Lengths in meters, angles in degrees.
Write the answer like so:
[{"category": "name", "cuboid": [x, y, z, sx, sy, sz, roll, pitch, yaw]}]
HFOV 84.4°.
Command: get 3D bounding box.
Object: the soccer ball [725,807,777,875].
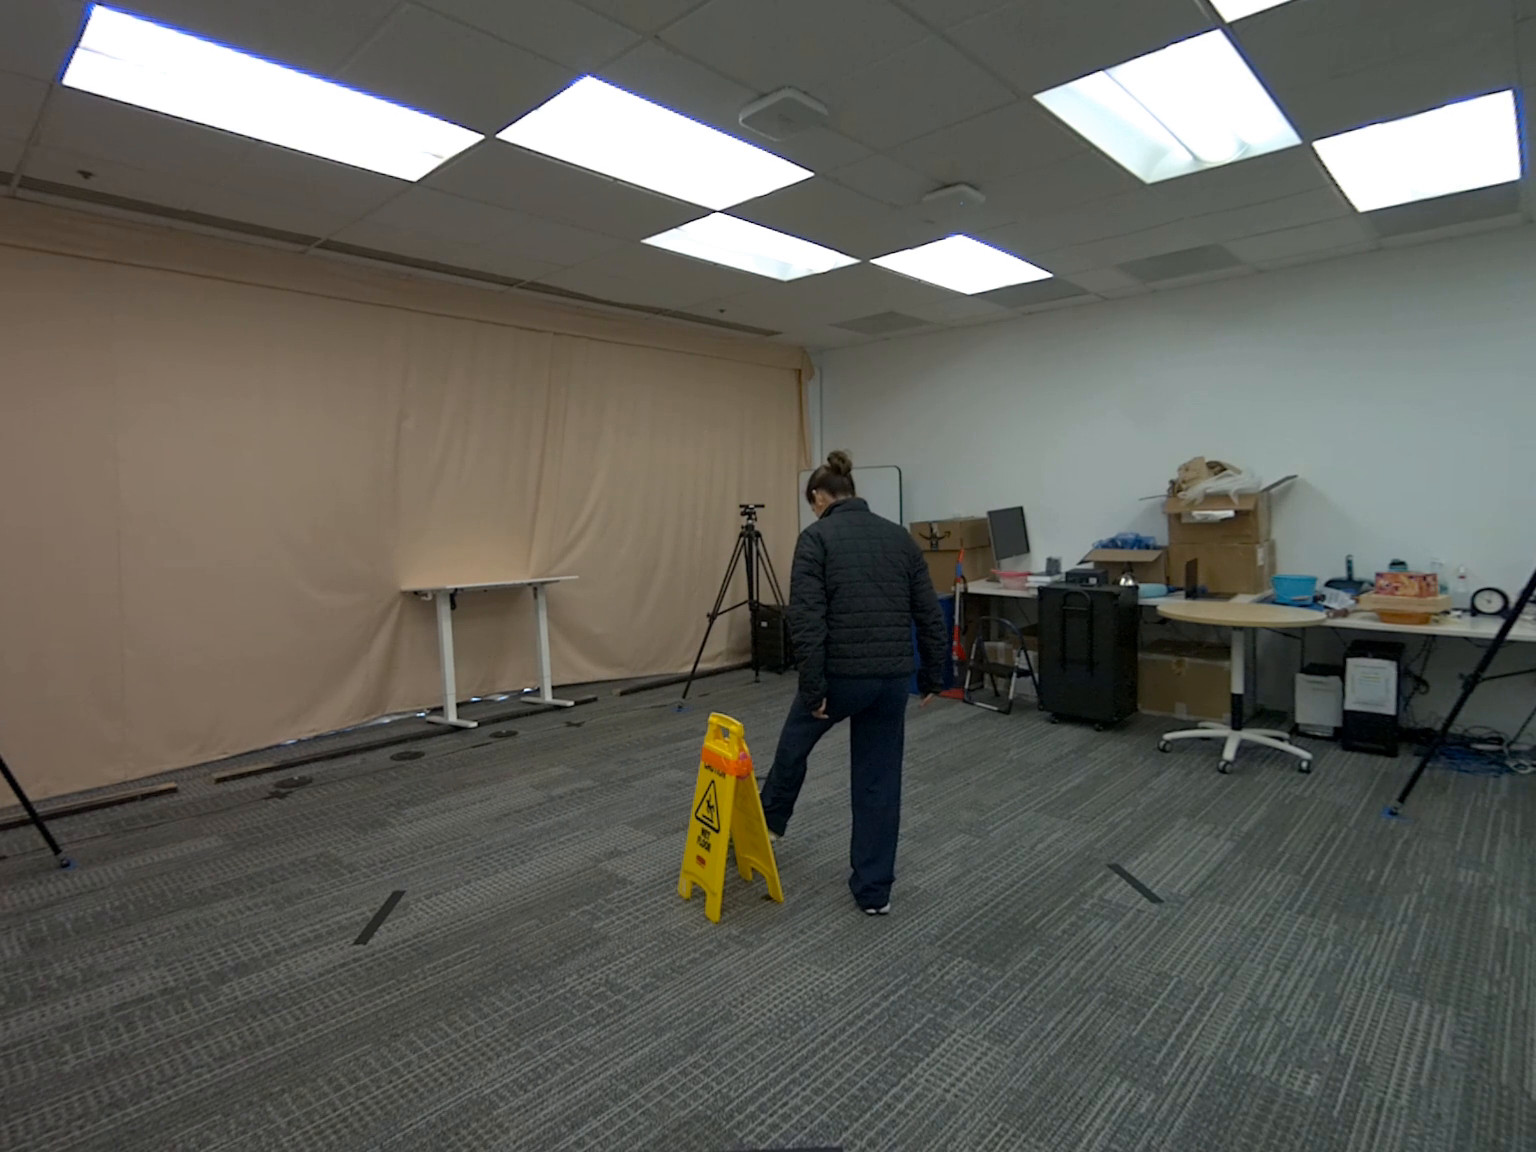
[{"category": "soccer ball", "cuboid": [-0.070, 1.021, 3.284, 0.187, 0.187, 0.188, -1, 4, -2]}]
